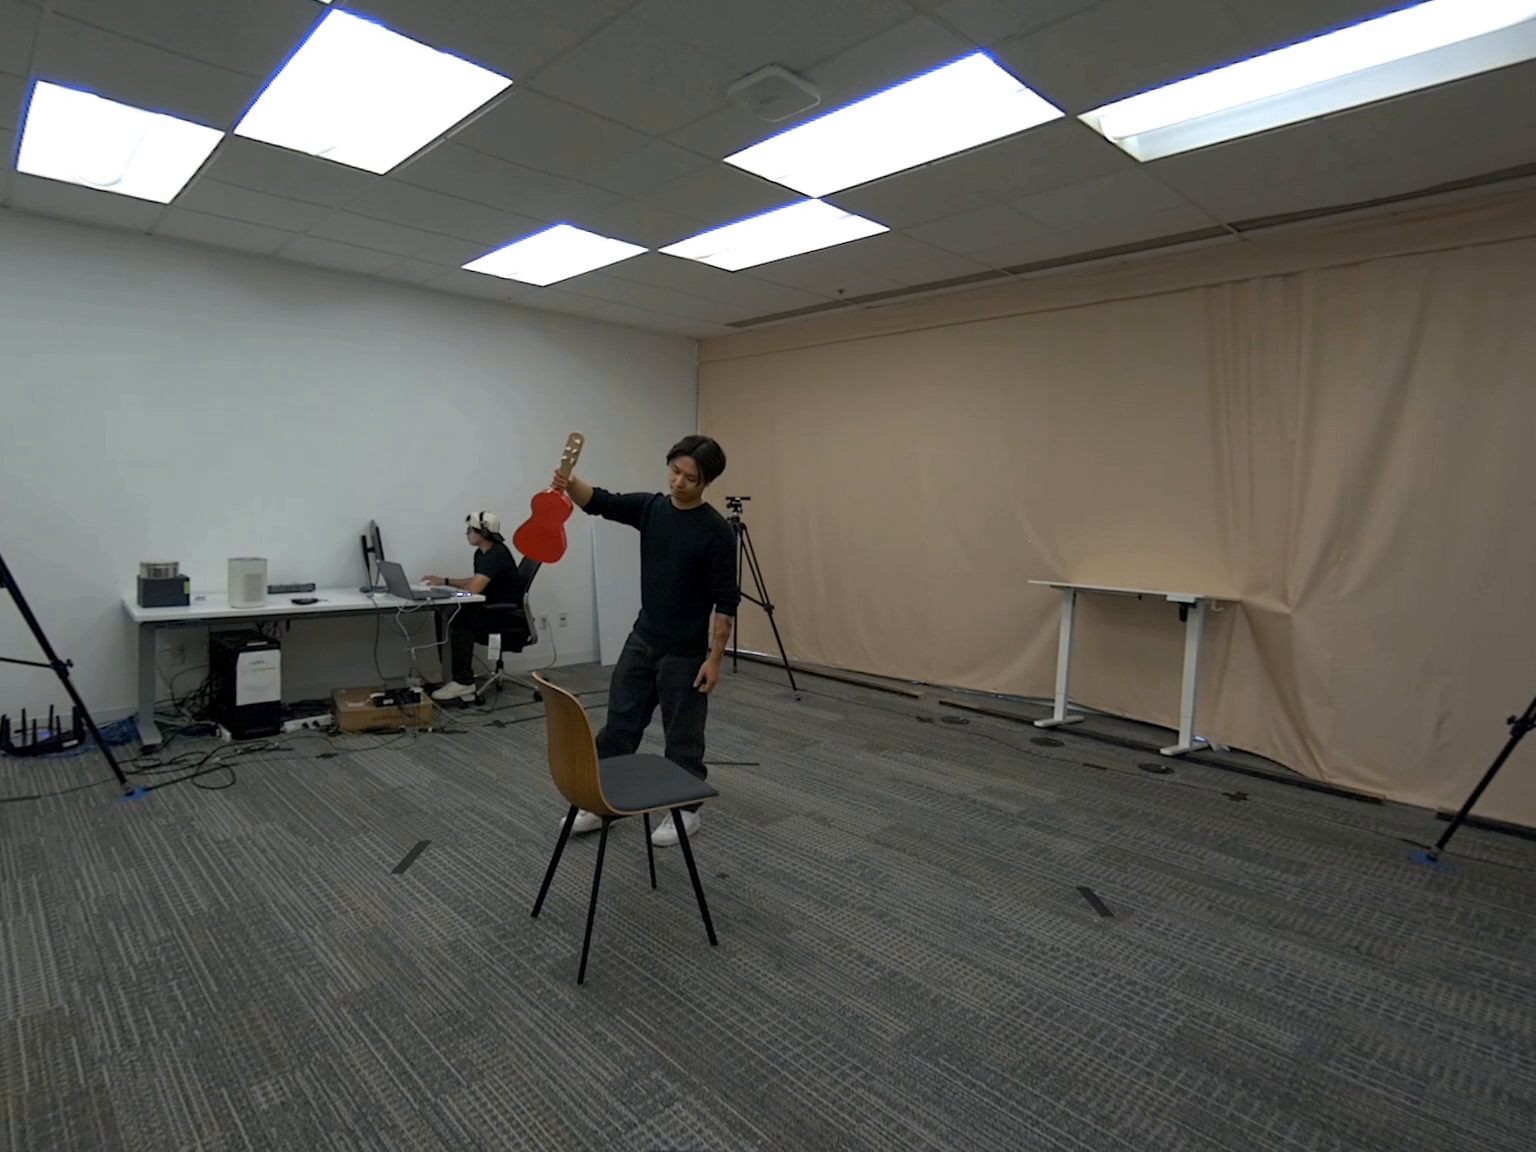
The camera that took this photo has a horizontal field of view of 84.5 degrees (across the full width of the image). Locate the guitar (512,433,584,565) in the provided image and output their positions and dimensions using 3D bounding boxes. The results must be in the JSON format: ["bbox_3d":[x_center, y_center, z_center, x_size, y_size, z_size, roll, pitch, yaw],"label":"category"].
[{"bbox_3d":[-0.818,-0.294,3.084,0.193,0.493,0.071,12,17,-2],"label":"guitar"}]
